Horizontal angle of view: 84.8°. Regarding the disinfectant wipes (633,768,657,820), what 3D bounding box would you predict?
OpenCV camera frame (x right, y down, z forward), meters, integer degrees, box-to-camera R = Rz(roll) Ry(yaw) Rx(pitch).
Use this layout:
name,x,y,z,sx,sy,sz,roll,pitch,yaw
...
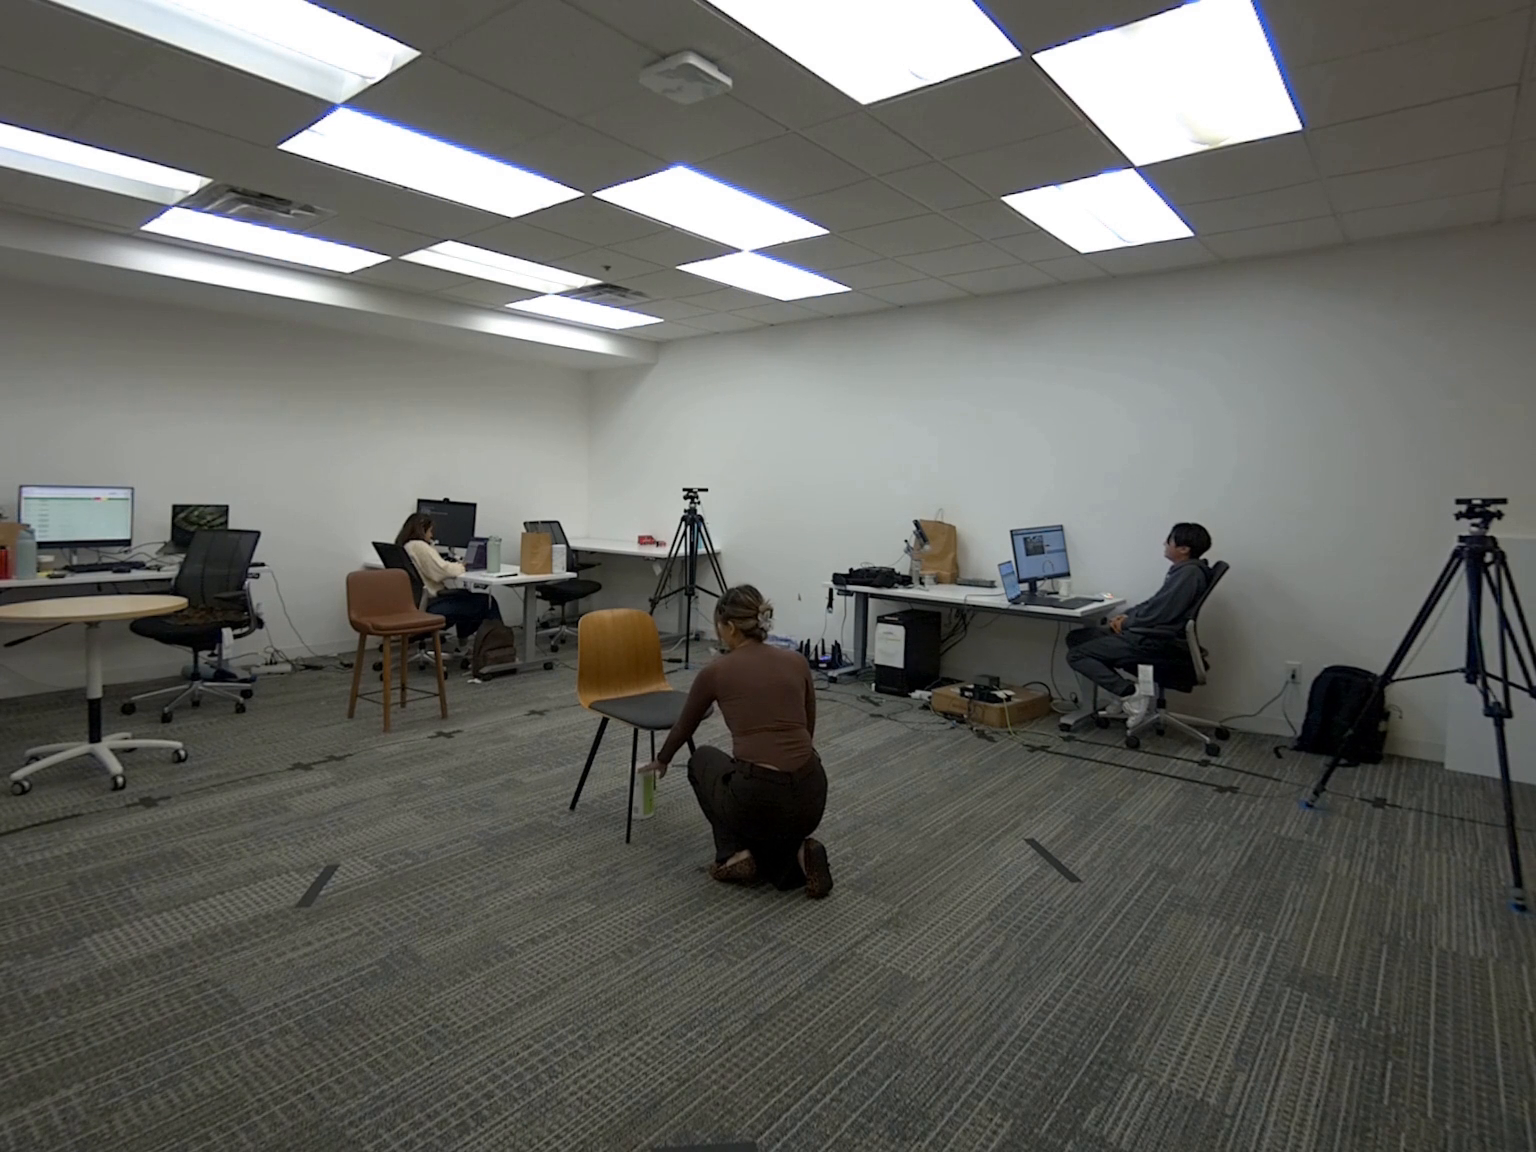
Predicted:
name,x,y,z,sx,sy,sz,roll,pitch,yaw
disinfectant wipes,-0.542,0.915,3.615,0.117,0.217,0.118,2,4,-2
